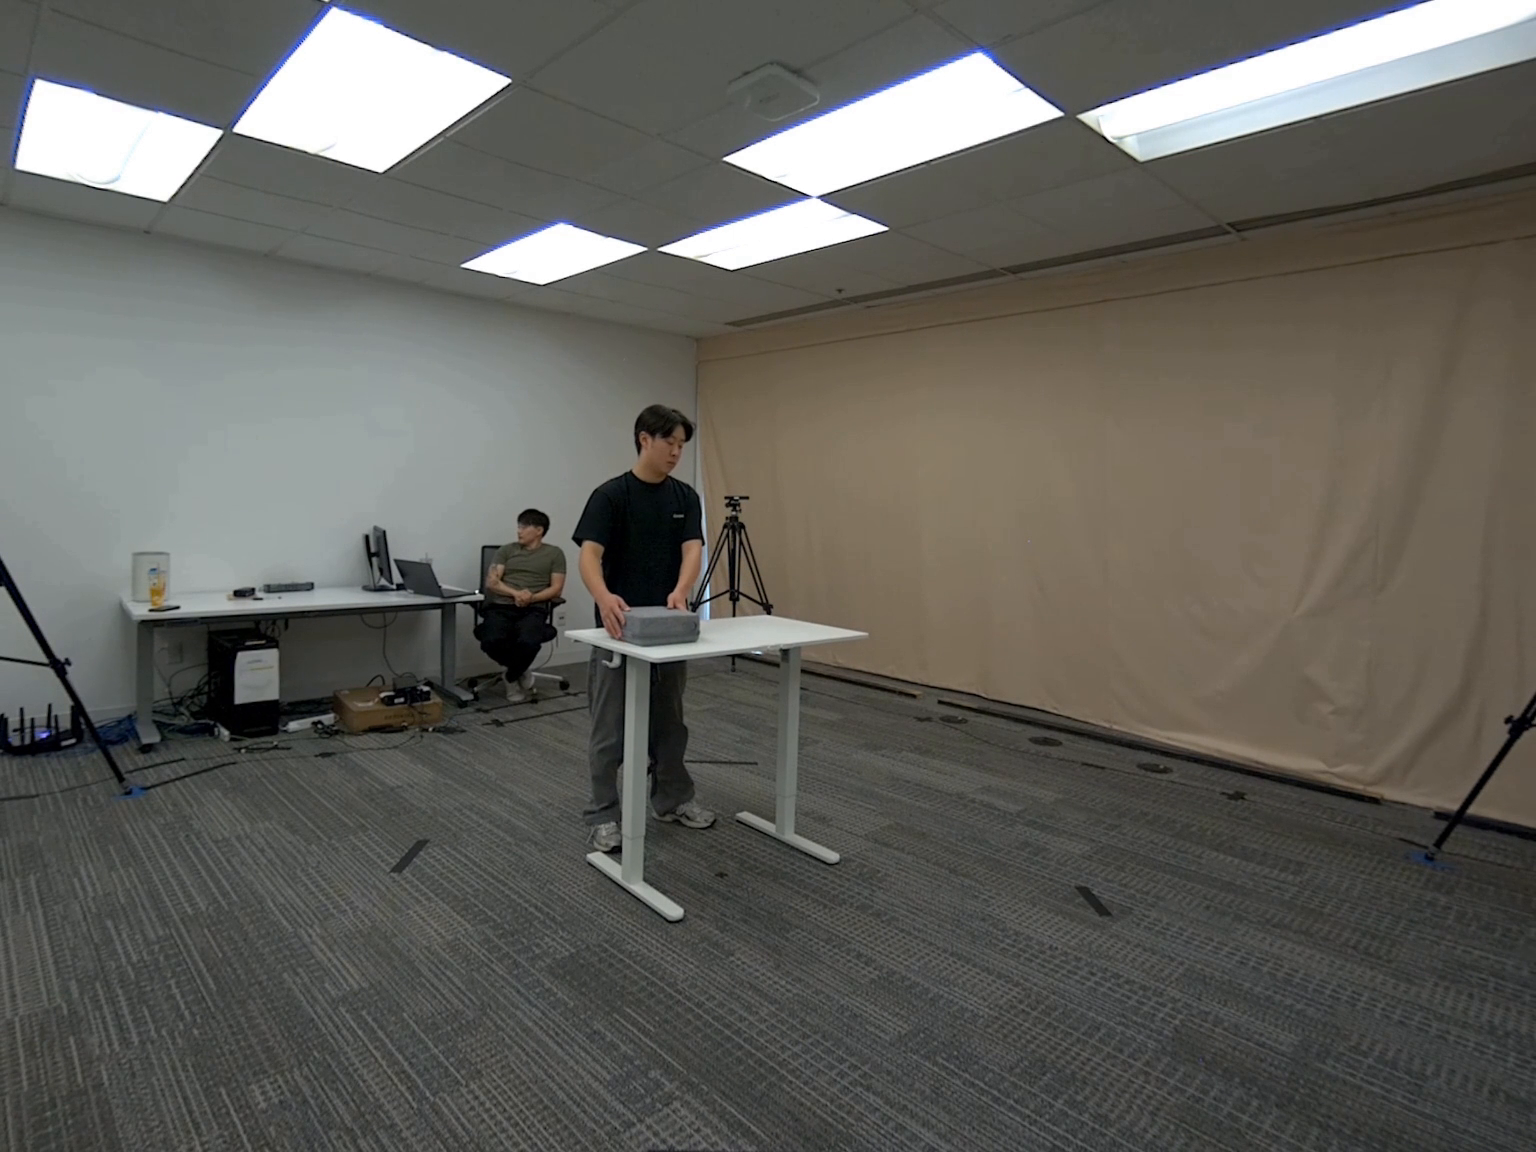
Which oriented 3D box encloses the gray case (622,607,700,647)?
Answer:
[{"bbox_3d":[-0.397,0.174,2.968,0.281,0.103,0.270,-2,6,-38],"label":"gray case"}]
